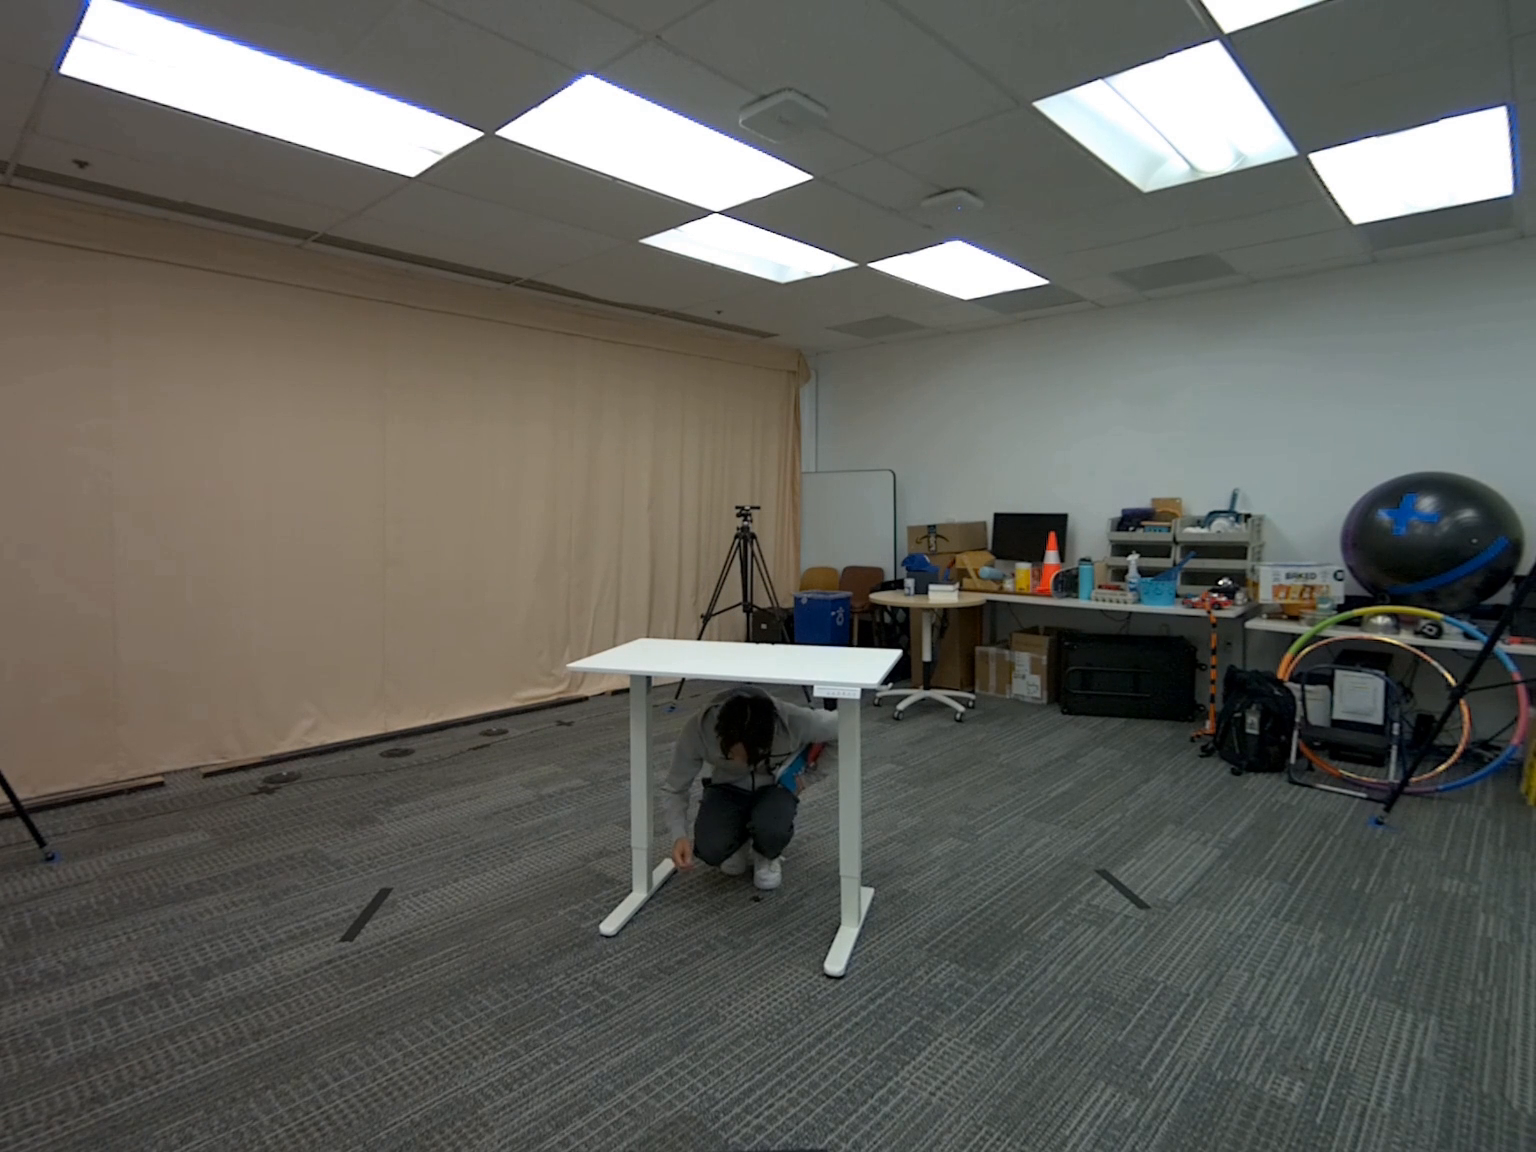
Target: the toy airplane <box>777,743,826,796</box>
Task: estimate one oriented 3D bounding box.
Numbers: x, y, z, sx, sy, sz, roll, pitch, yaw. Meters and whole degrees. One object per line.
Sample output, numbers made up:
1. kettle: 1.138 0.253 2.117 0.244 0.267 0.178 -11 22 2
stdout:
1. toy airplane: 0.090 0.662 3.180 0.252 0.250 0.161 8 8 -26
